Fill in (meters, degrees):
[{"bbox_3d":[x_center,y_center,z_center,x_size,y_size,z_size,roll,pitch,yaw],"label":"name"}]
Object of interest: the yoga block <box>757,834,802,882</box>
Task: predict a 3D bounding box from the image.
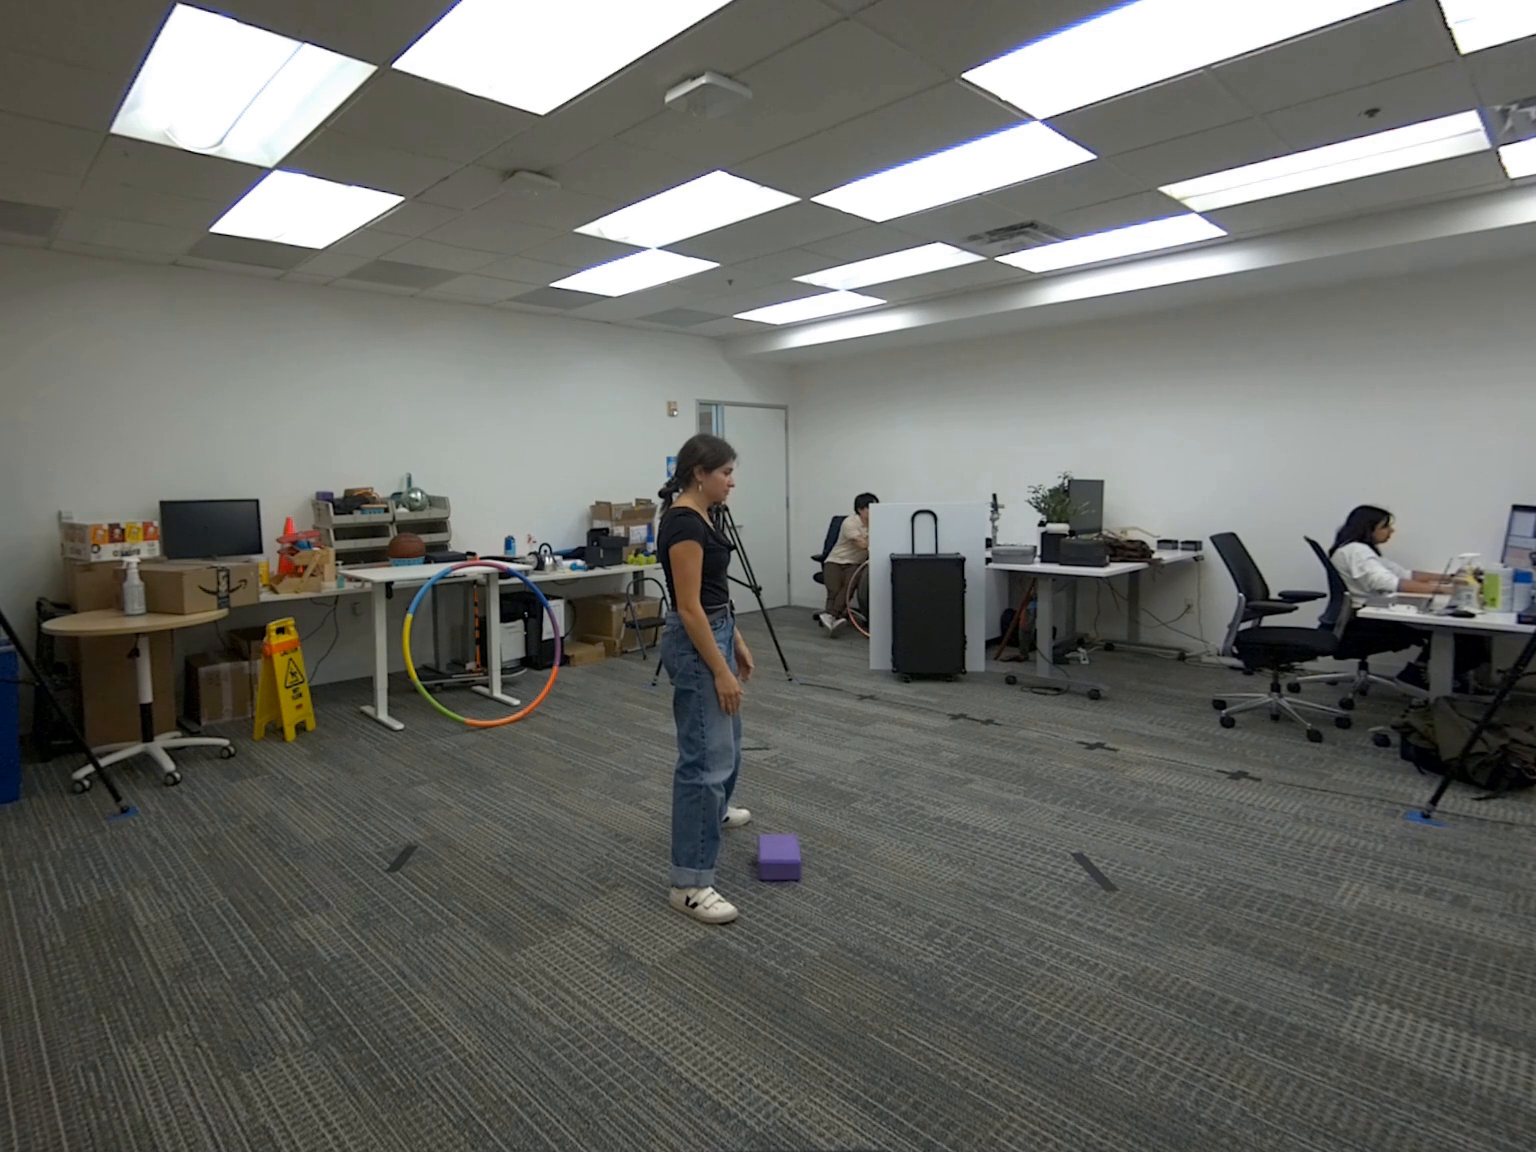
[{"bbox_3d":[0.041,1.009,3.073,0.149,0.076,0.230,0,7,0],"label":"yoga block"}]
